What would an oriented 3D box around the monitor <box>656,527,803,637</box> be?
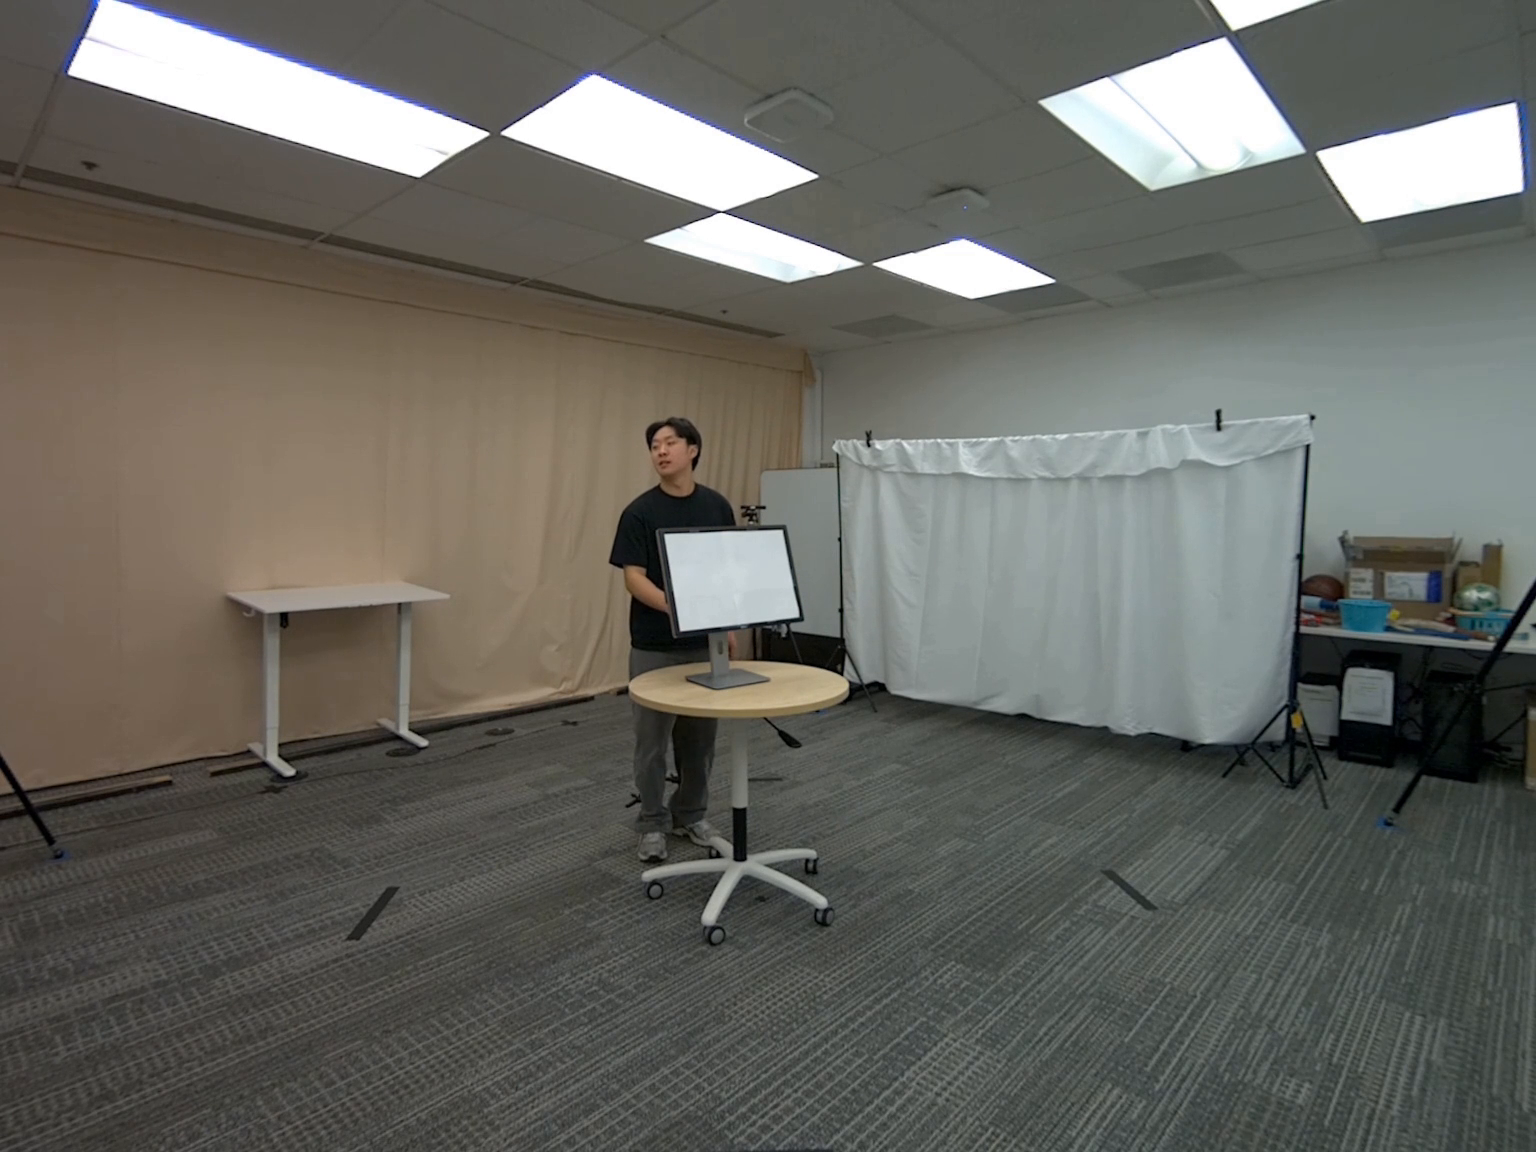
[{"bbox_3d":[-0.137,0.109,2.955,0.546,0.564,0.229,-4,6,-34],"label":"monitor"}]
